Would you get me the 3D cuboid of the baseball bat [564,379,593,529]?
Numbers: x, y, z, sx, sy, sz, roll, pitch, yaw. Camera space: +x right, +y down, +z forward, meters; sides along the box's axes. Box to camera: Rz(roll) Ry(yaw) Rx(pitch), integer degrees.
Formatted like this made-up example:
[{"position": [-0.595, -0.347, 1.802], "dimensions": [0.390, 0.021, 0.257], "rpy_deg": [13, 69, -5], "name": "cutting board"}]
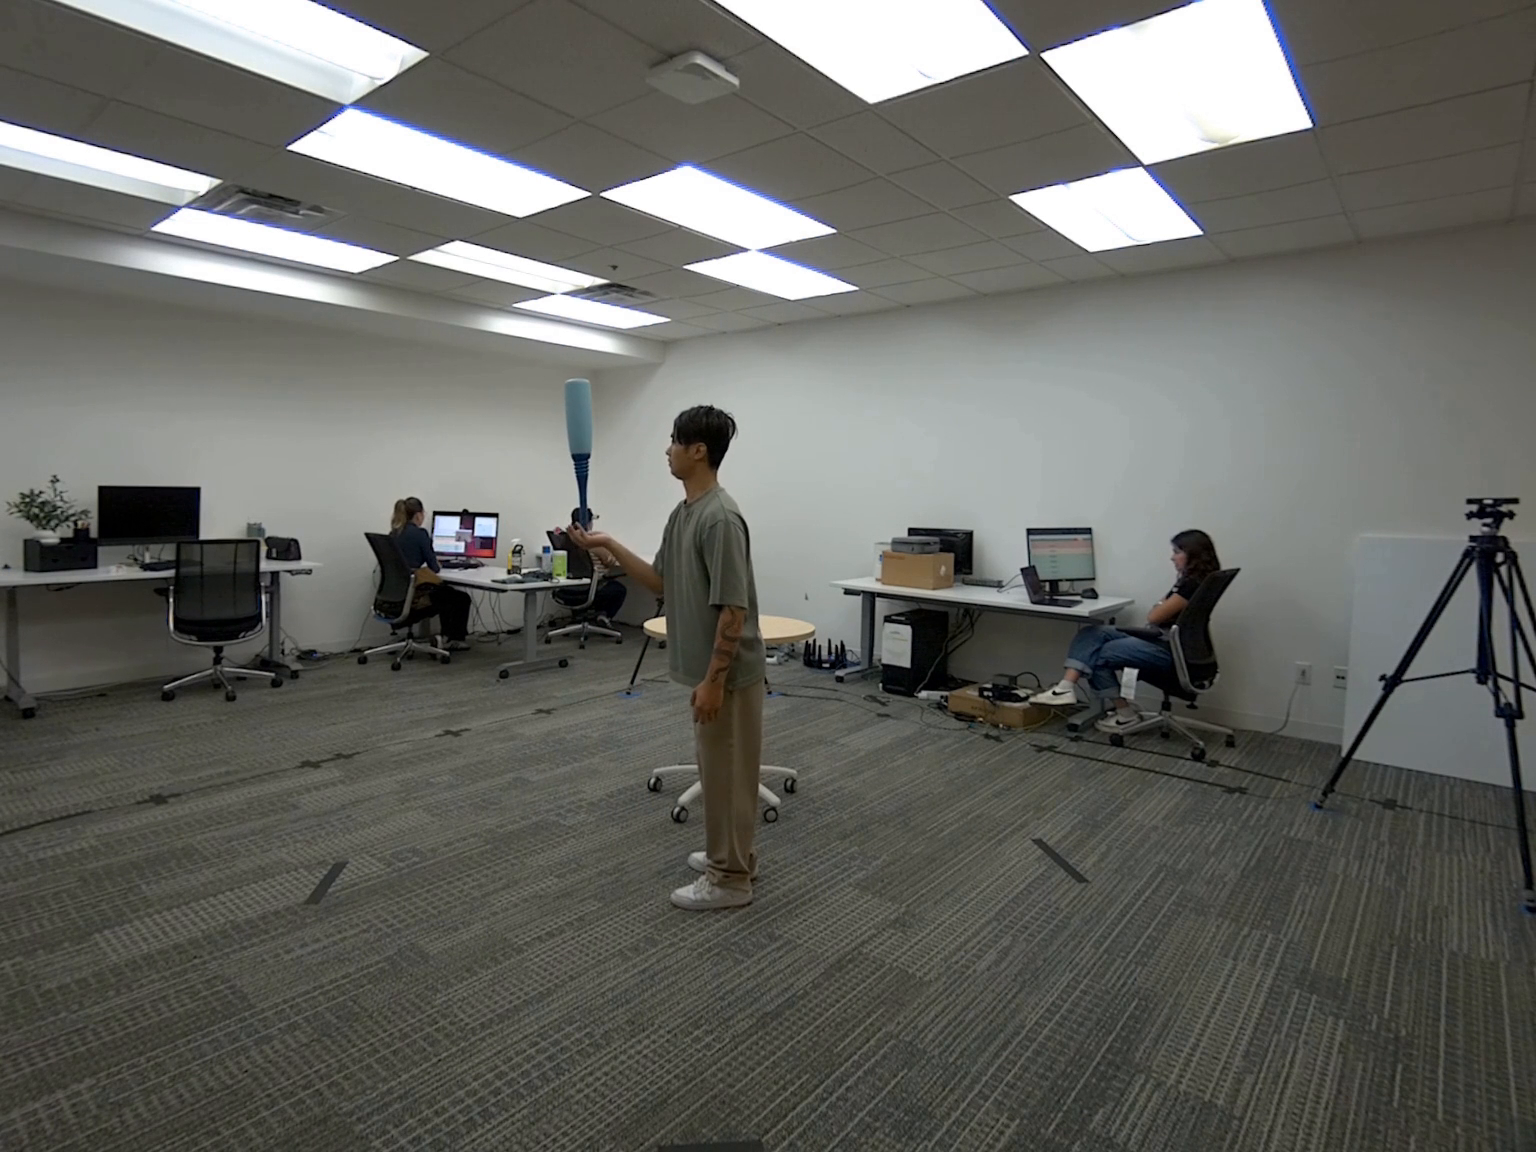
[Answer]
[{"position": [-0.652, -0.405, 2.886], "dimensions": [0.089, 0.542, 0.089], "rpy_deg": [1, 2, -2], "name": "baseball bat"}]
